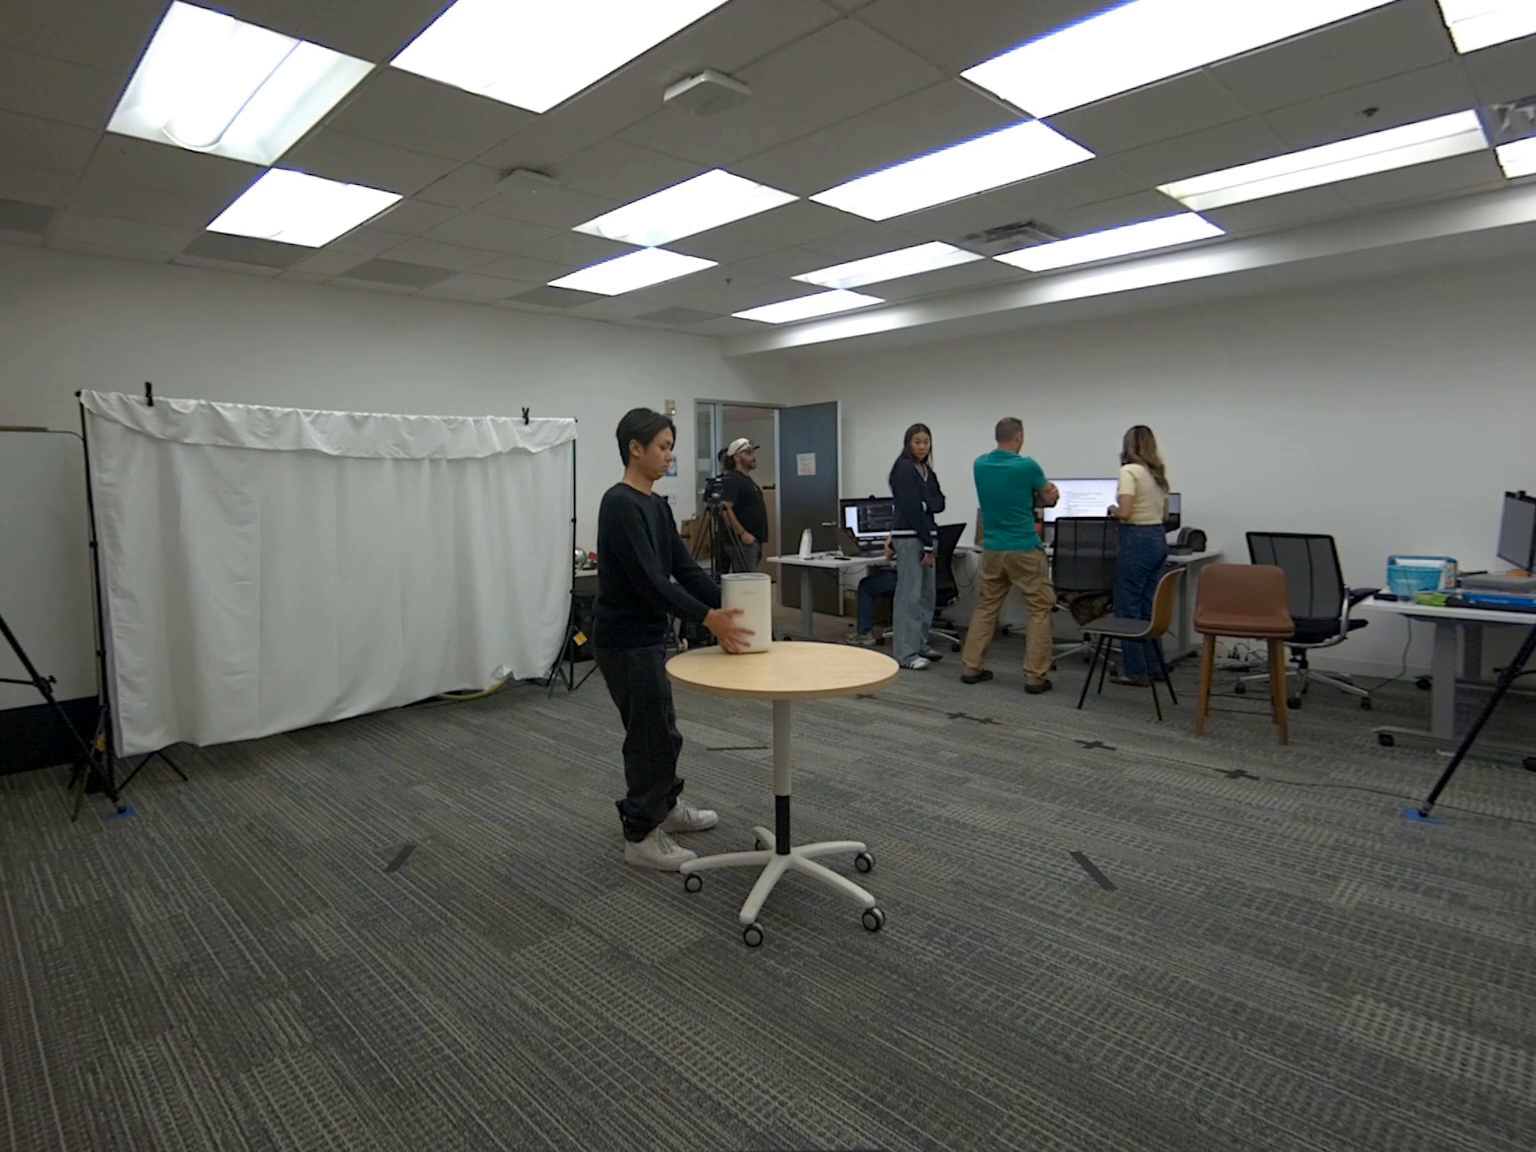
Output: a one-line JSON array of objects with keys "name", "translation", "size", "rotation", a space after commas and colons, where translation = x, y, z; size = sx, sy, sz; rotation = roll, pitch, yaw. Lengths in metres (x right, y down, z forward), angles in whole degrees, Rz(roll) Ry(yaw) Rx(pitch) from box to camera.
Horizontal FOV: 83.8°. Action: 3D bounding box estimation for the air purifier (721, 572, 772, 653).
[{"name": "air purifier", "translation": [-0.081, 0.130, 3.045], "size": [0.170, 0.264, 0.173], "rotation": [-2, 4, -6]}]
